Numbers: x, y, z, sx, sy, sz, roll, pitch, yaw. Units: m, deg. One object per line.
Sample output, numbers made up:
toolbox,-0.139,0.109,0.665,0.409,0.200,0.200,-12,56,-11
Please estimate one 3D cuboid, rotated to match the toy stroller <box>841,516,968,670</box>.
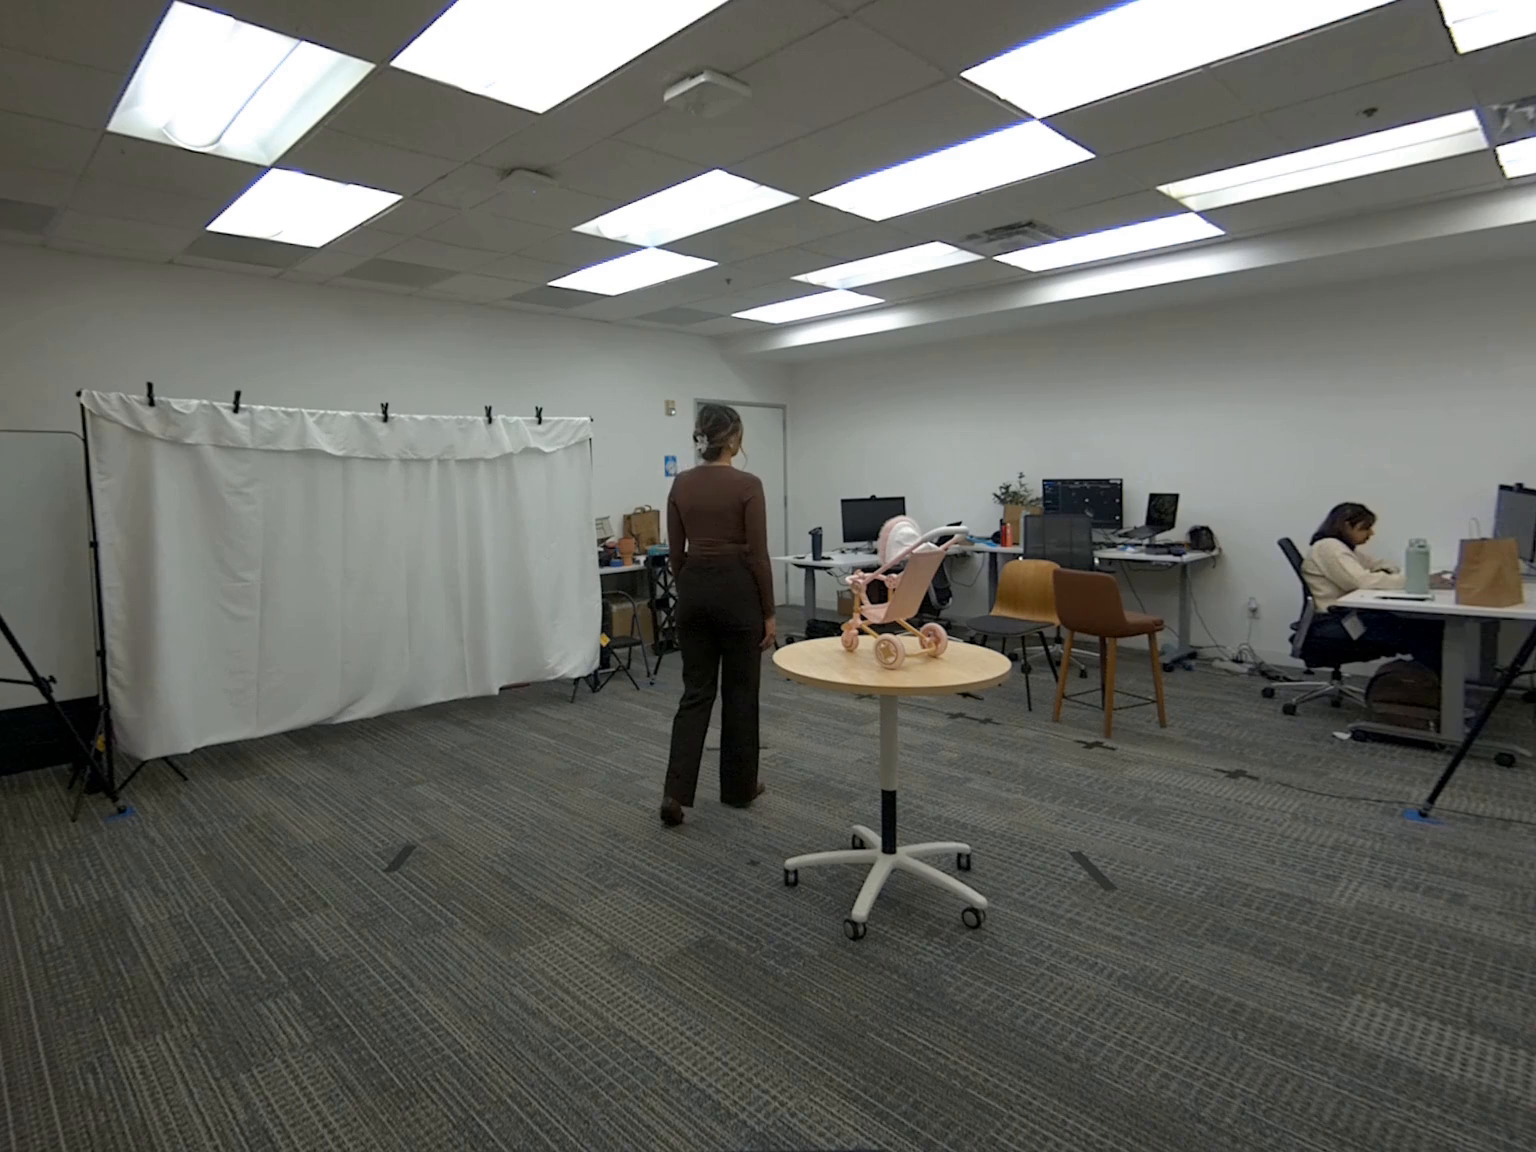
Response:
toy stroller,0.418,0.051,2.774,0.274,0.529,0.354,-4,20,-40
